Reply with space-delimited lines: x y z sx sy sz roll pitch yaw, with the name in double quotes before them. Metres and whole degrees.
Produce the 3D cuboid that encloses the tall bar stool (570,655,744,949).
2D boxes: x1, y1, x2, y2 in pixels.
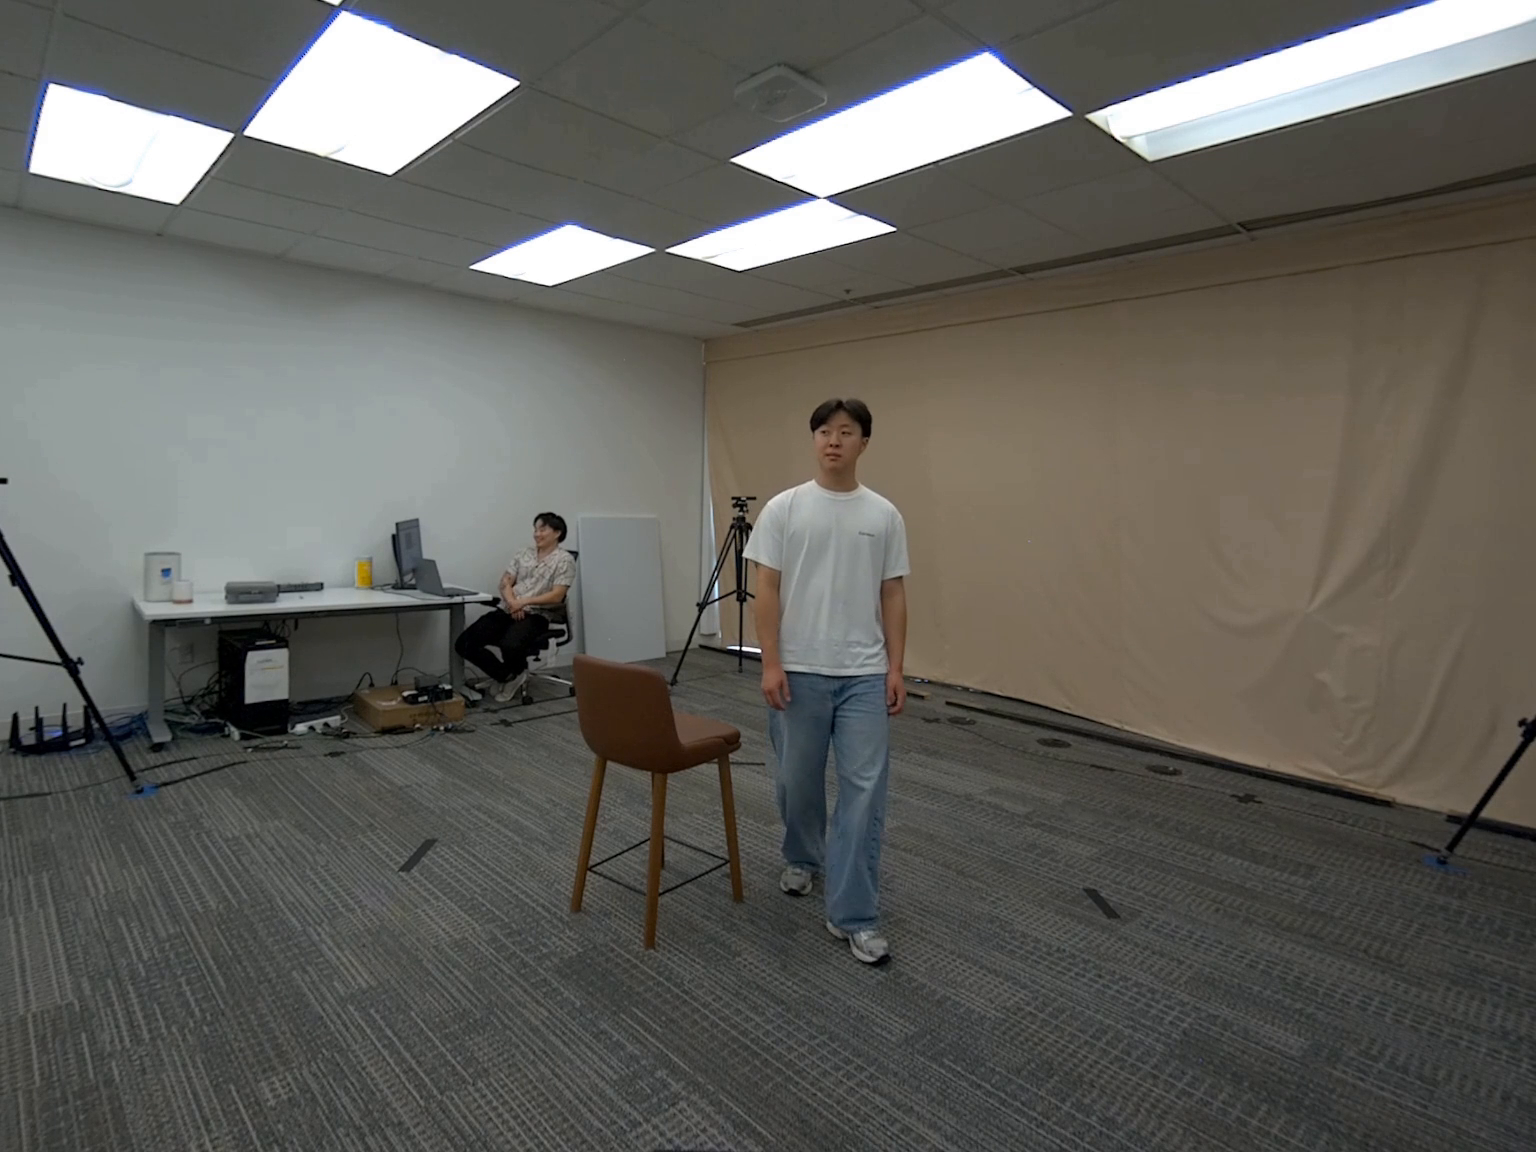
"tall bar stool" -0.376 0.686 2.846 0.468 0.887 0.458 4 6 39
